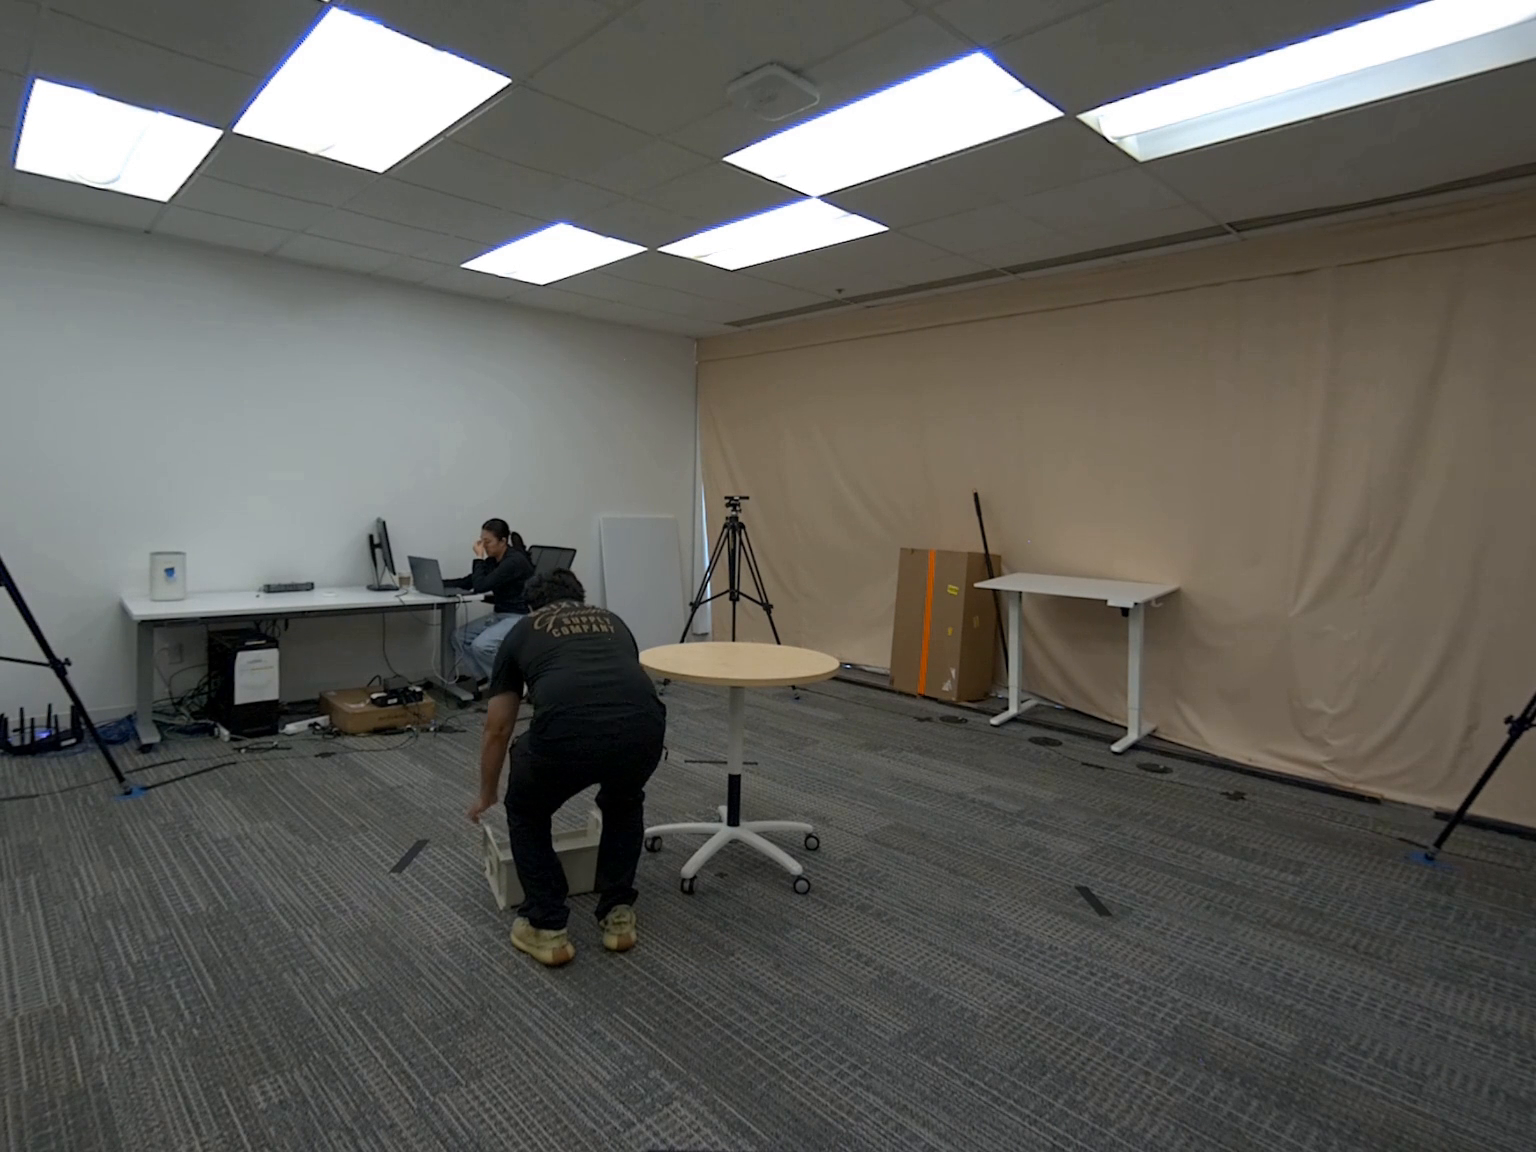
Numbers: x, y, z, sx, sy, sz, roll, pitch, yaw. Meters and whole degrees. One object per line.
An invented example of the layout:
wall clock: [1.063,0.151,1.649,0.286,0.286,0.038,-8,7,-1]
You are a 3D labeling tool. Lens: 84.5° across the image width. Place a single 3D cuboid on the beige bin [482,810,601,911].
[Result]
beige bin: [-0.795,1.006,3.030,0.414,0.188,0.386,0,7,-28]
